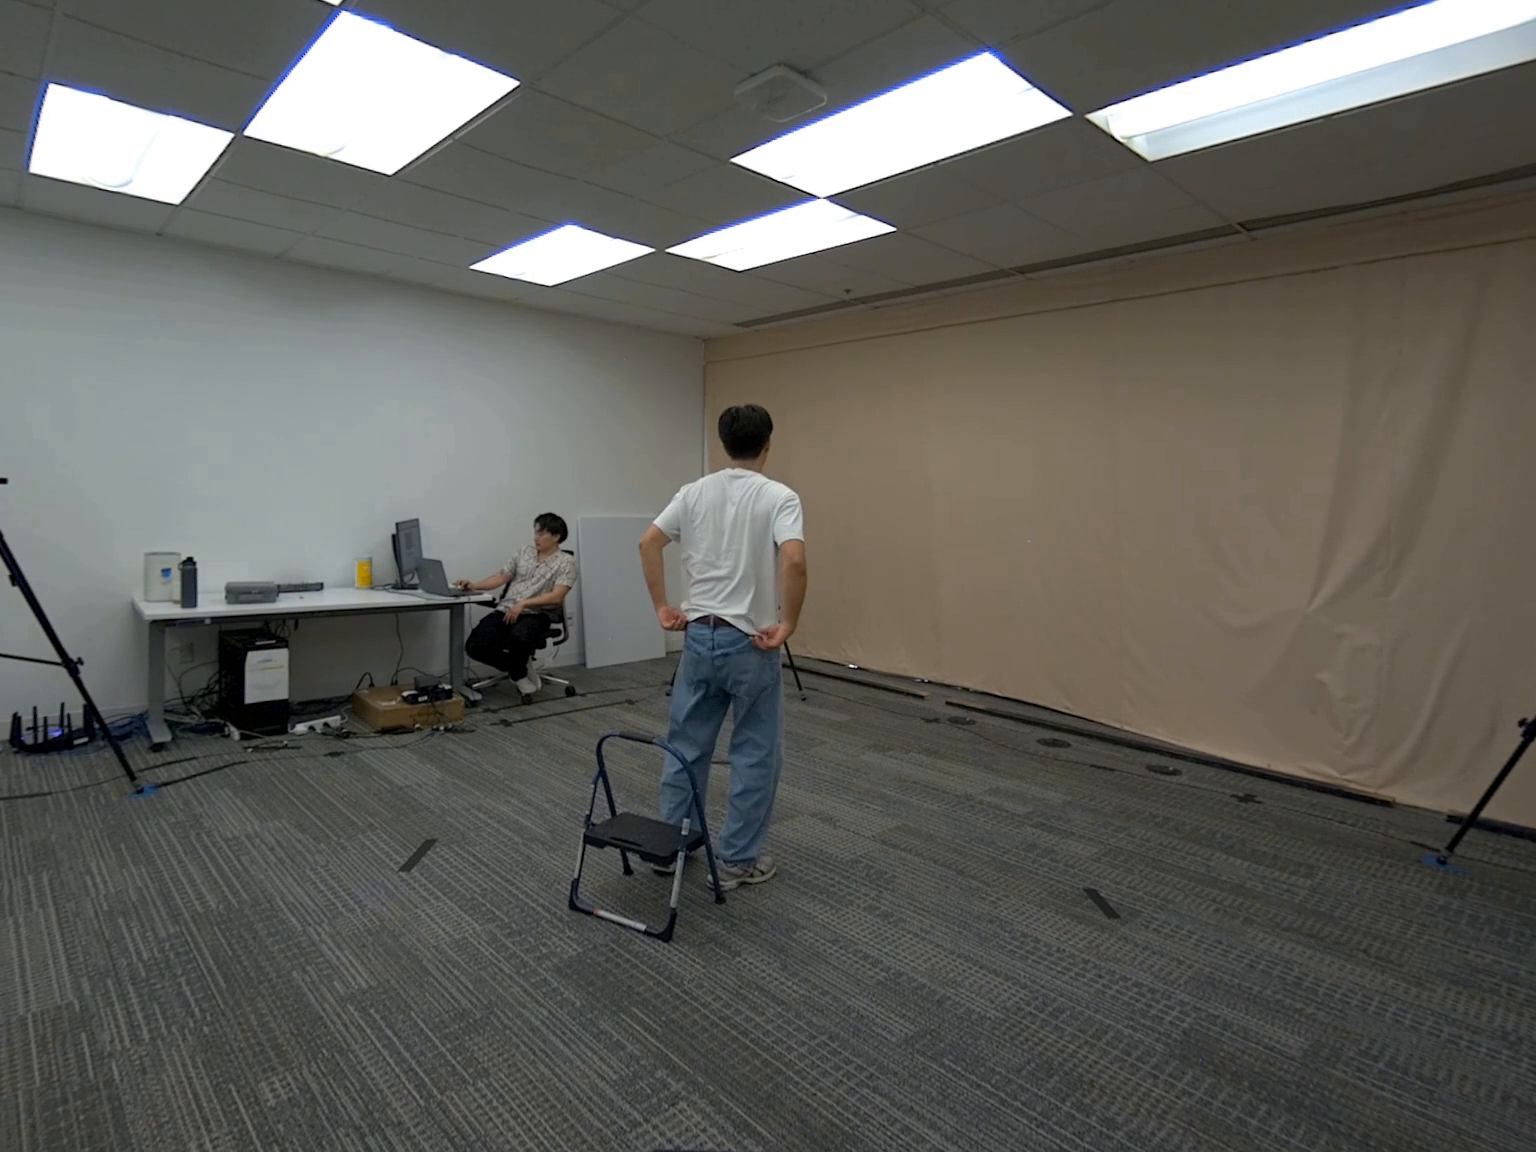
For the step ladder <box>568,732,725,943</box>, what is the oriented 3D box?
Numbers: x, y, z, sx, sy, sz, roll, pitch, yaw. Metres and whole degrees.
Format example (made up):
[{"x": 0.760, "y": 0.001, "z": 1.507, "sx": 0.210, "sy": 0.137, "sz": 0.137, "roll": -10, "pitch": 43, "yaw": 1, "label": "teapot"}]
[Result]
[{"x": -0.415, "y": 0.821, "z": 2.853, "sx": 0.440, "sy": 0.605, "sz": 0.342, "roll": 3, "pitch": 4, "yaw": 29, "label": "step ladder"}]
